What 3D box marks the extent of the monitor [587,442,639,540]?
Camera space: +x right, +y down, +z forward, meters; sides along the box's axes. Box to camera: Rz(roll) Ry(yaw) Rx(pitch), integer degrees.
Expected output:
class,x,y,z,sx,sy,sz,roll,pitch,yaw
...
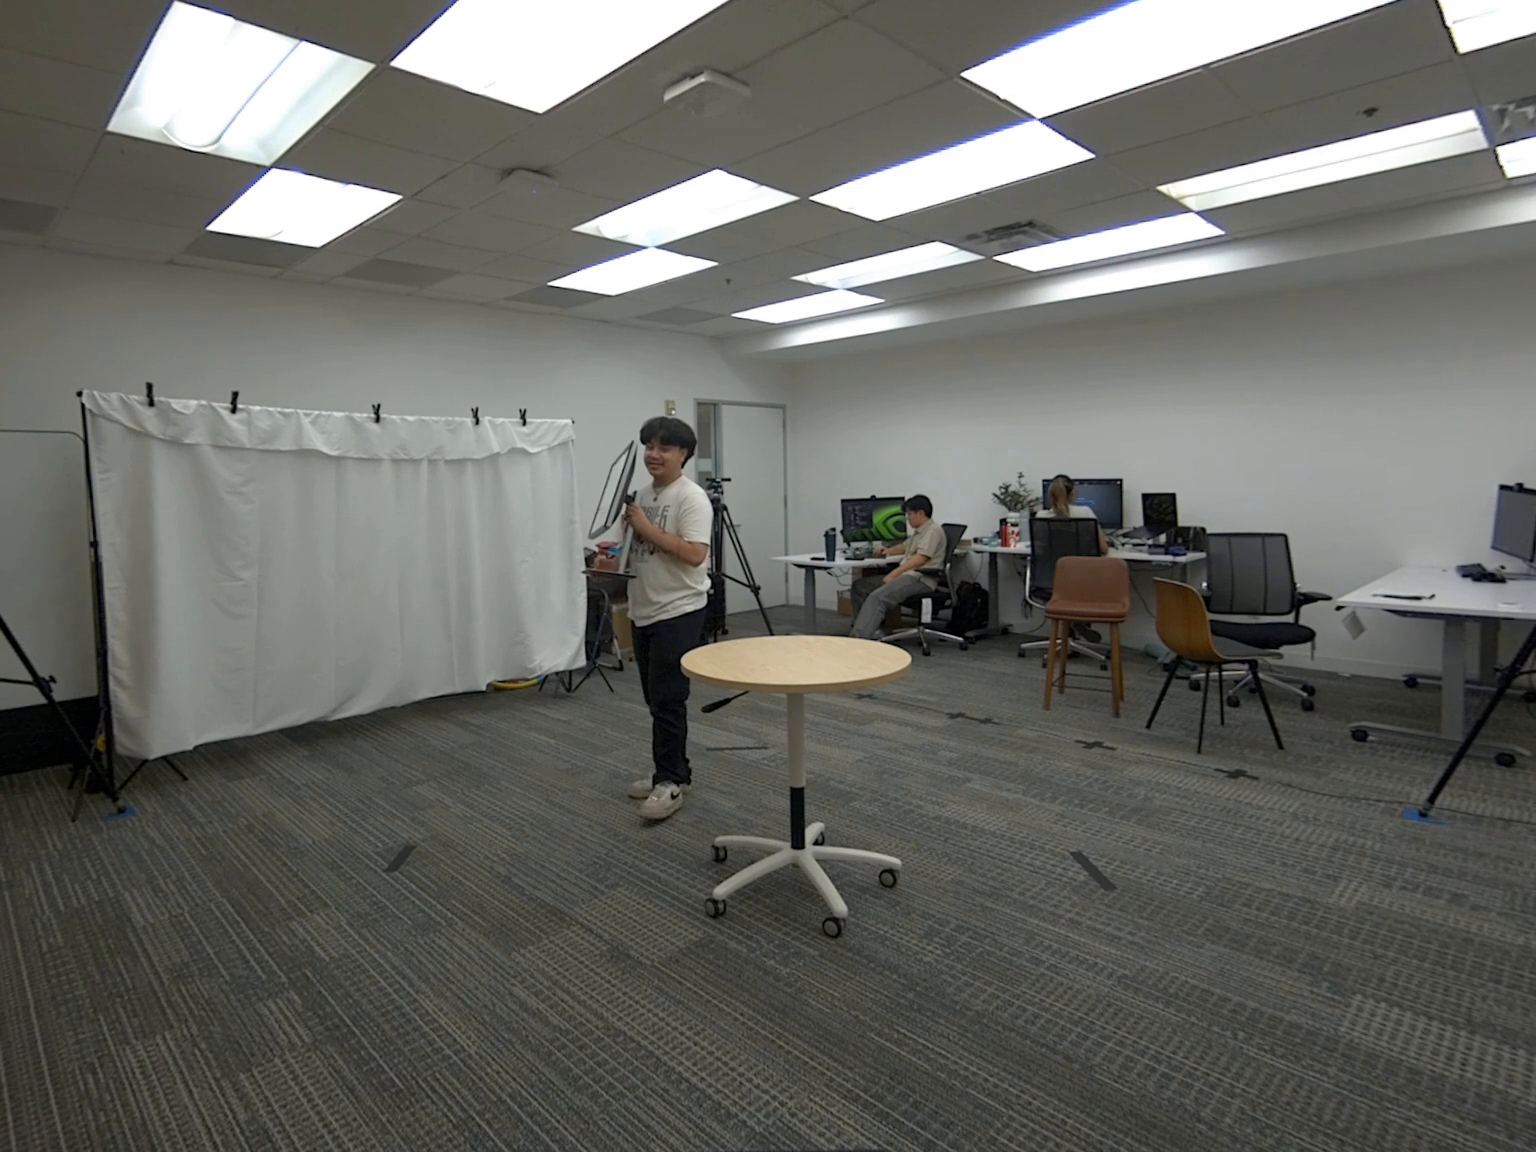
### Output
class,x,y,z,sx,sy,sz,roll,pitch,yaw
monitor,-0.613,-0.250,3.615,0.206,0.557,0.572,12,-7,-18
